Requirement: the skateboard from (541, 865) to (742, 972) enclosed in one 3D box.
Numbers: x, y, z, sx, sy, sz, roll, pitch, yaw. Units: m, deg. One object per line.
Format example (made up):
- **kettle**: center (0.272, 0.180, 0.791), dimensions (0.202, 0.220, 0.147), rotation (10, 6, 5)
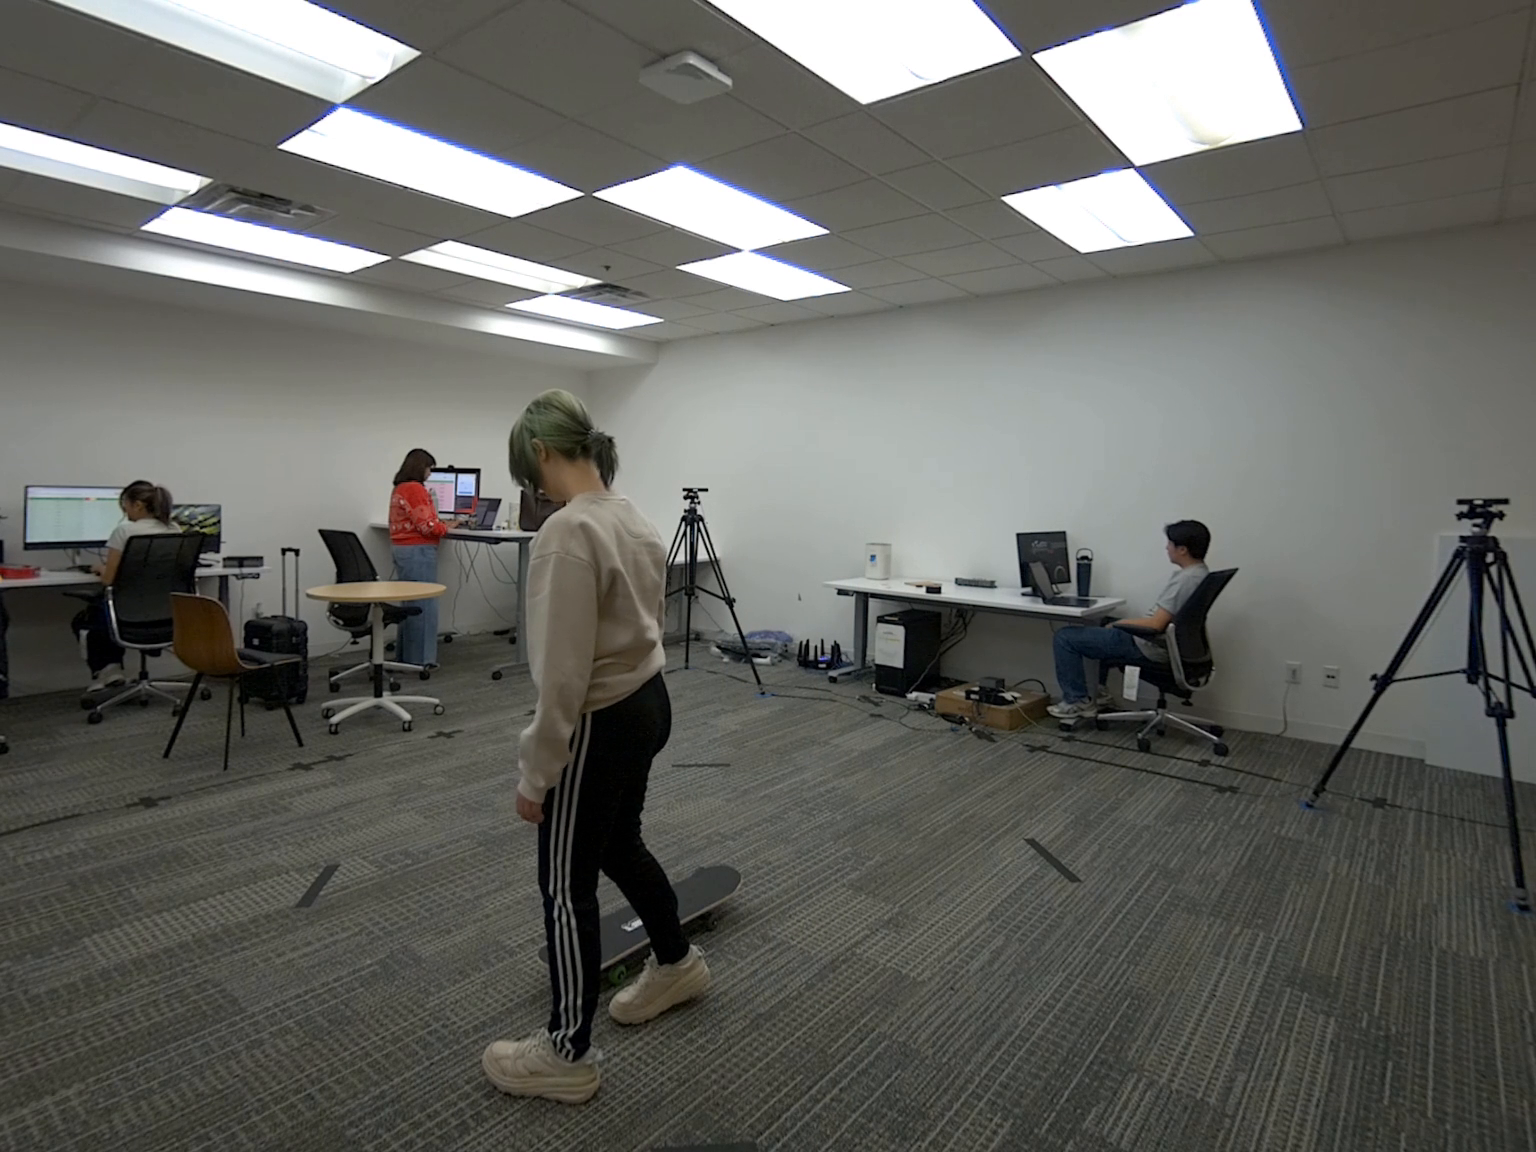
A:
- **skateboard**: center (-0.368, 1.067, 2.579), dimensions (0.200, 0.110, 0.763), rotation (5, 7, 40)
